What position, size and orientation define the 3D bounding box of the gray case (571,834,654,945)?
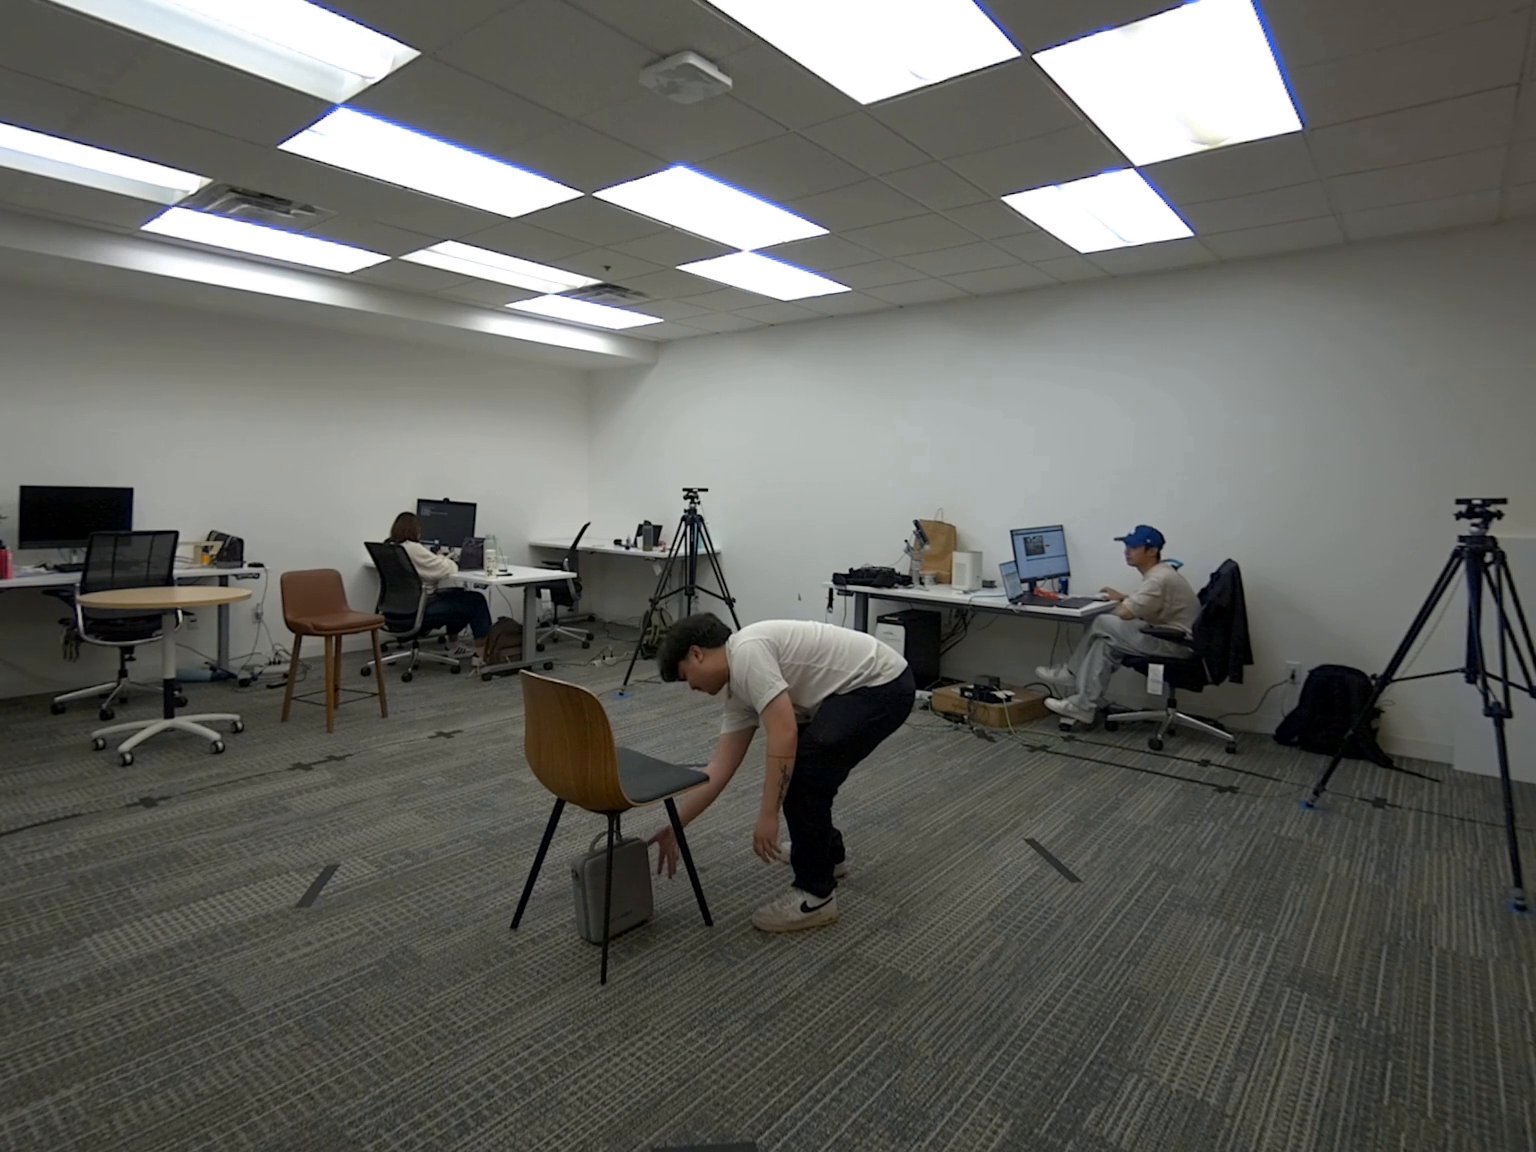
[{"bbox_3d":[-0.498,0.978,2.681,0.107,0.262,0.249,-9,-4,43],"label":"gray case"}]
